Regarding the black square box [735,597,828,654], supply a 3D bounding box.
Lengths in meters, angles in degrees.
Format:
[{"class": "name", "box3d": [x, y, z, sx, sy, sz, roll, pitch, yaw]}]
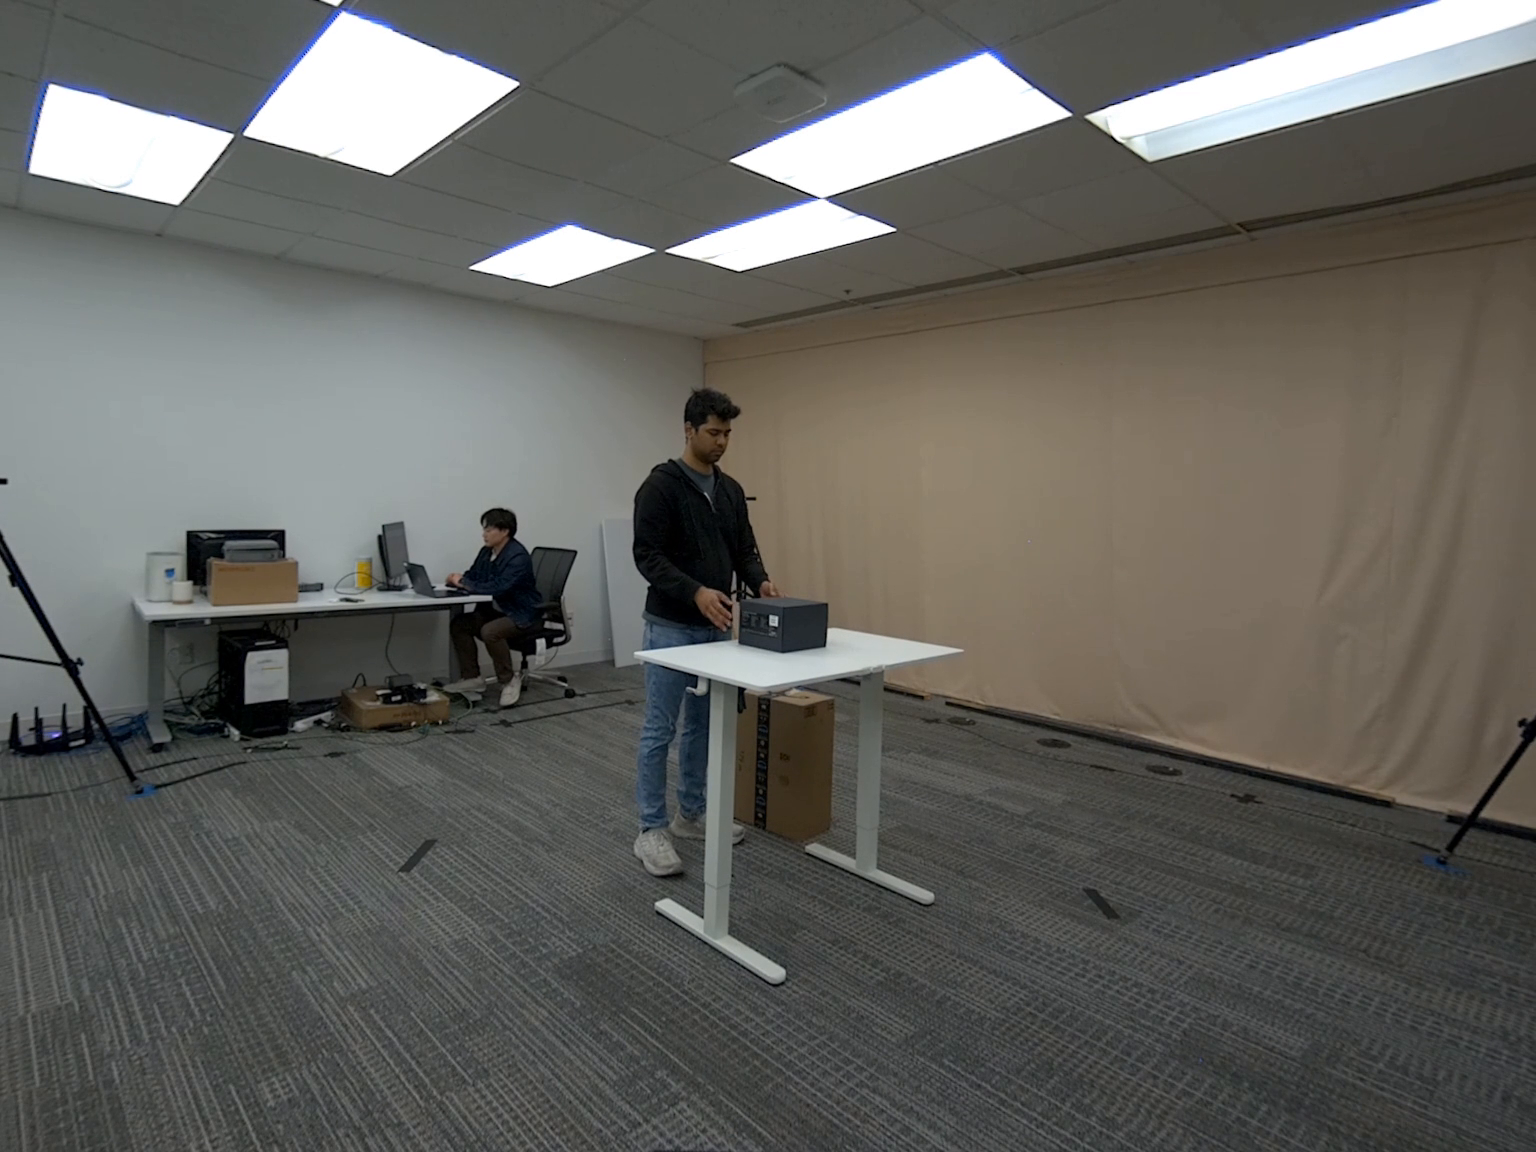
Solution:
[{"class": "black square box", "box3d": [0.051, 0.171, 2.919, 0.223, 0.155, 0.222, -3, 7, -44]}]
